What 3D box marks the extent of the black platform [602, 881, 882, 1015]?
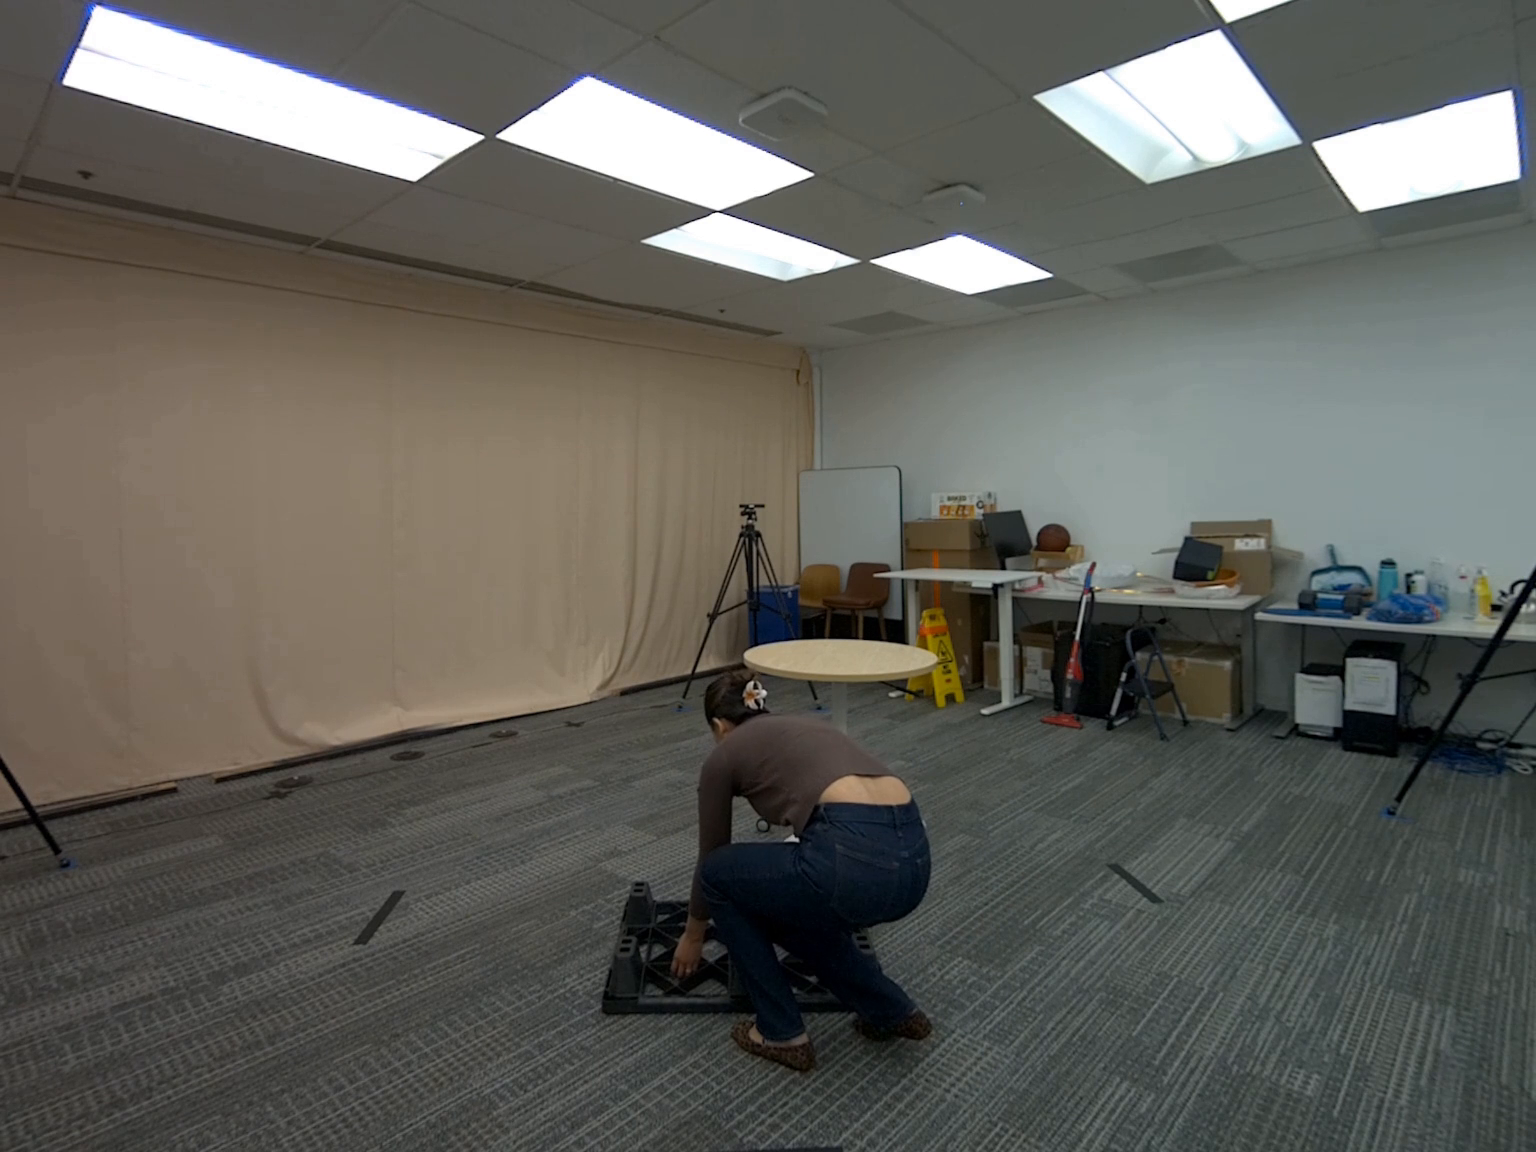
[{"bbox_3d":[-0.079,1.107,2.596,0.805,0.143,0.607,-1,5,-1],"label":"black platform"}]
